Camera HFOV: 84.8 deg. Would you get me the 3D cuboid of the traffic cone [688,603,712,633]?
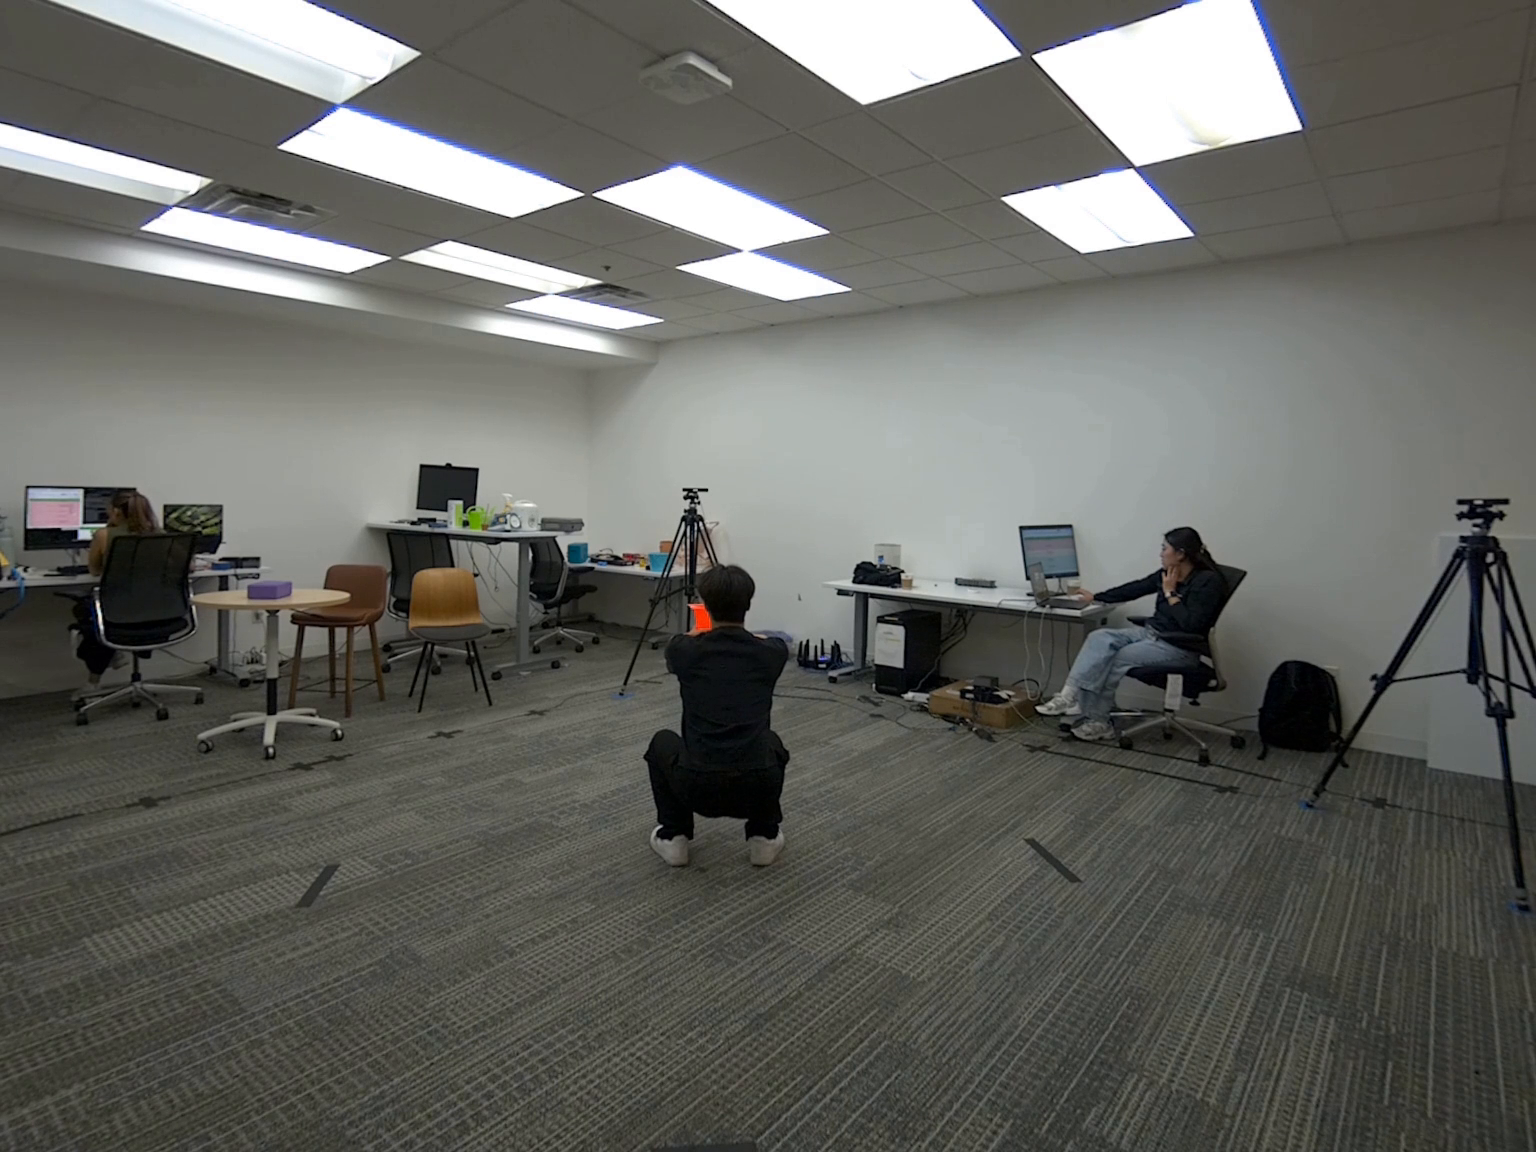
[{"bbox_3d":[-0.263,0.321,3.804,0.203,0.384,0.205,-1,-1,-11],"label":"traffic cone"}]
